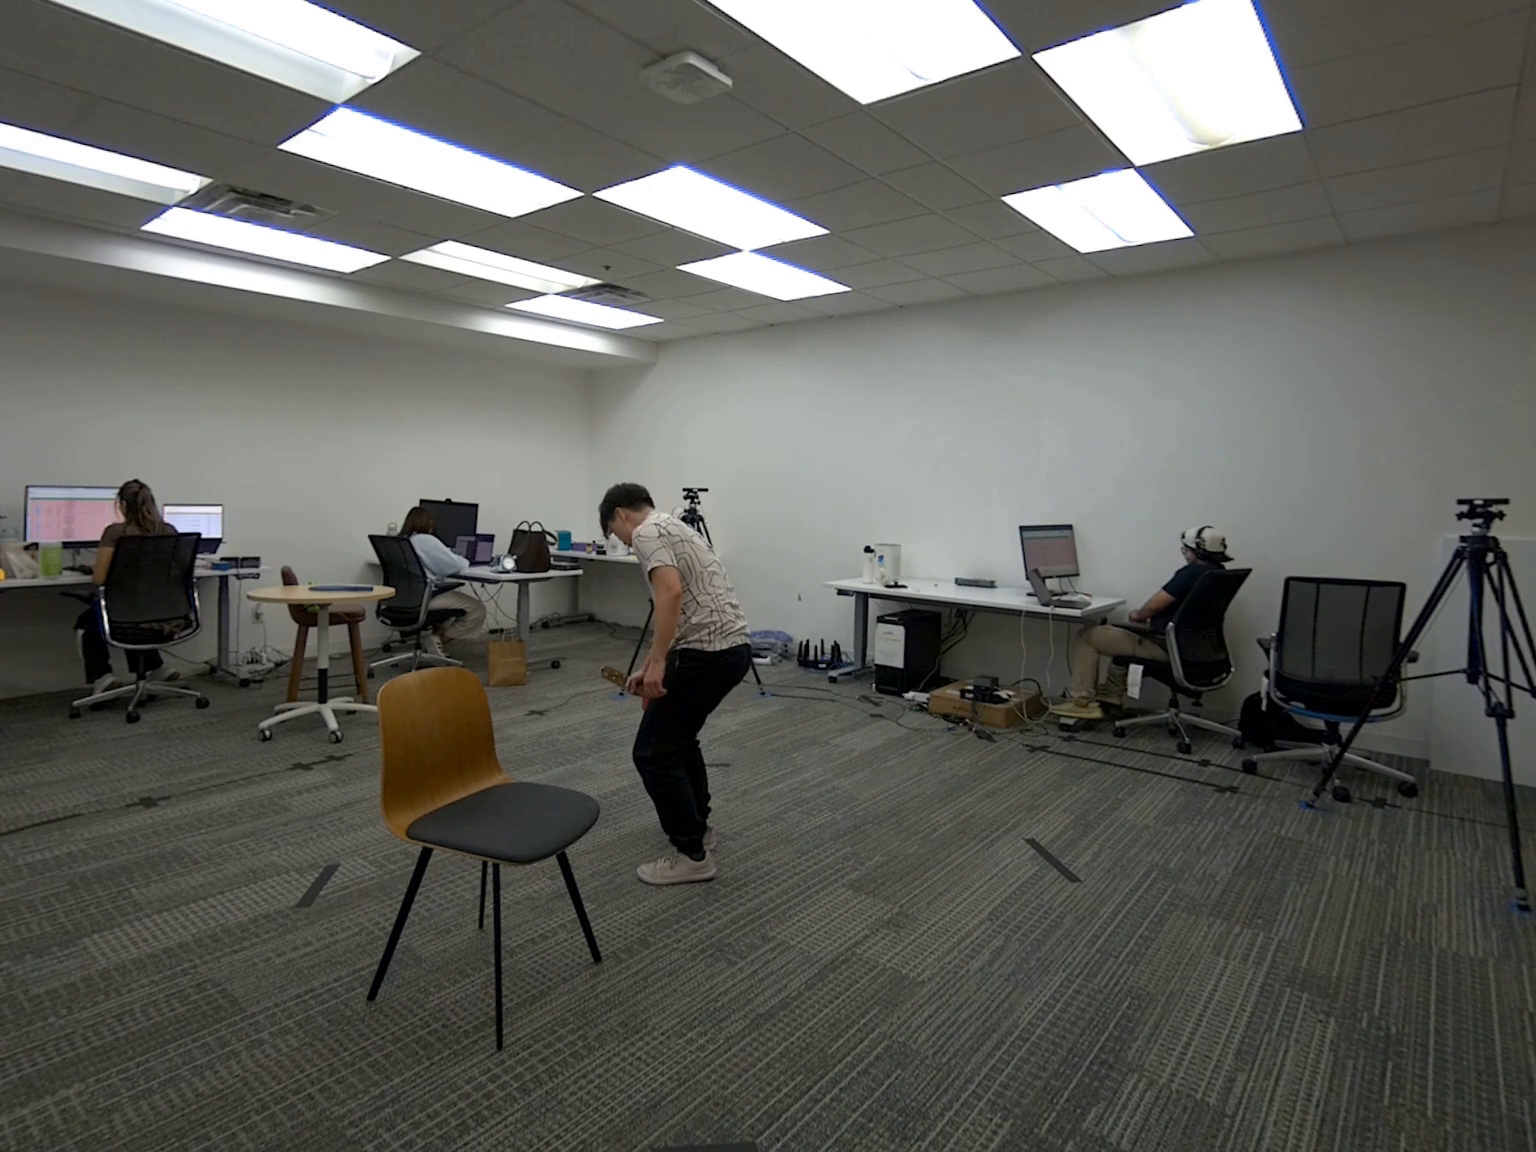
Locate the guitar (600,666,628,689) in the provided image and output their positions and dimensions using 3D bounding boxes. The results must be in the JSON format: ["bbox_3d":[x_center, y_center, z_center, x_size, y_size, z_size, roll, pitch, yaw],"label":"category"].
[{"bbox_3d":[-0.477,0.480,3.572,0.487,0.194,0.072,37,-26,-16],"label":"guitar"}]
